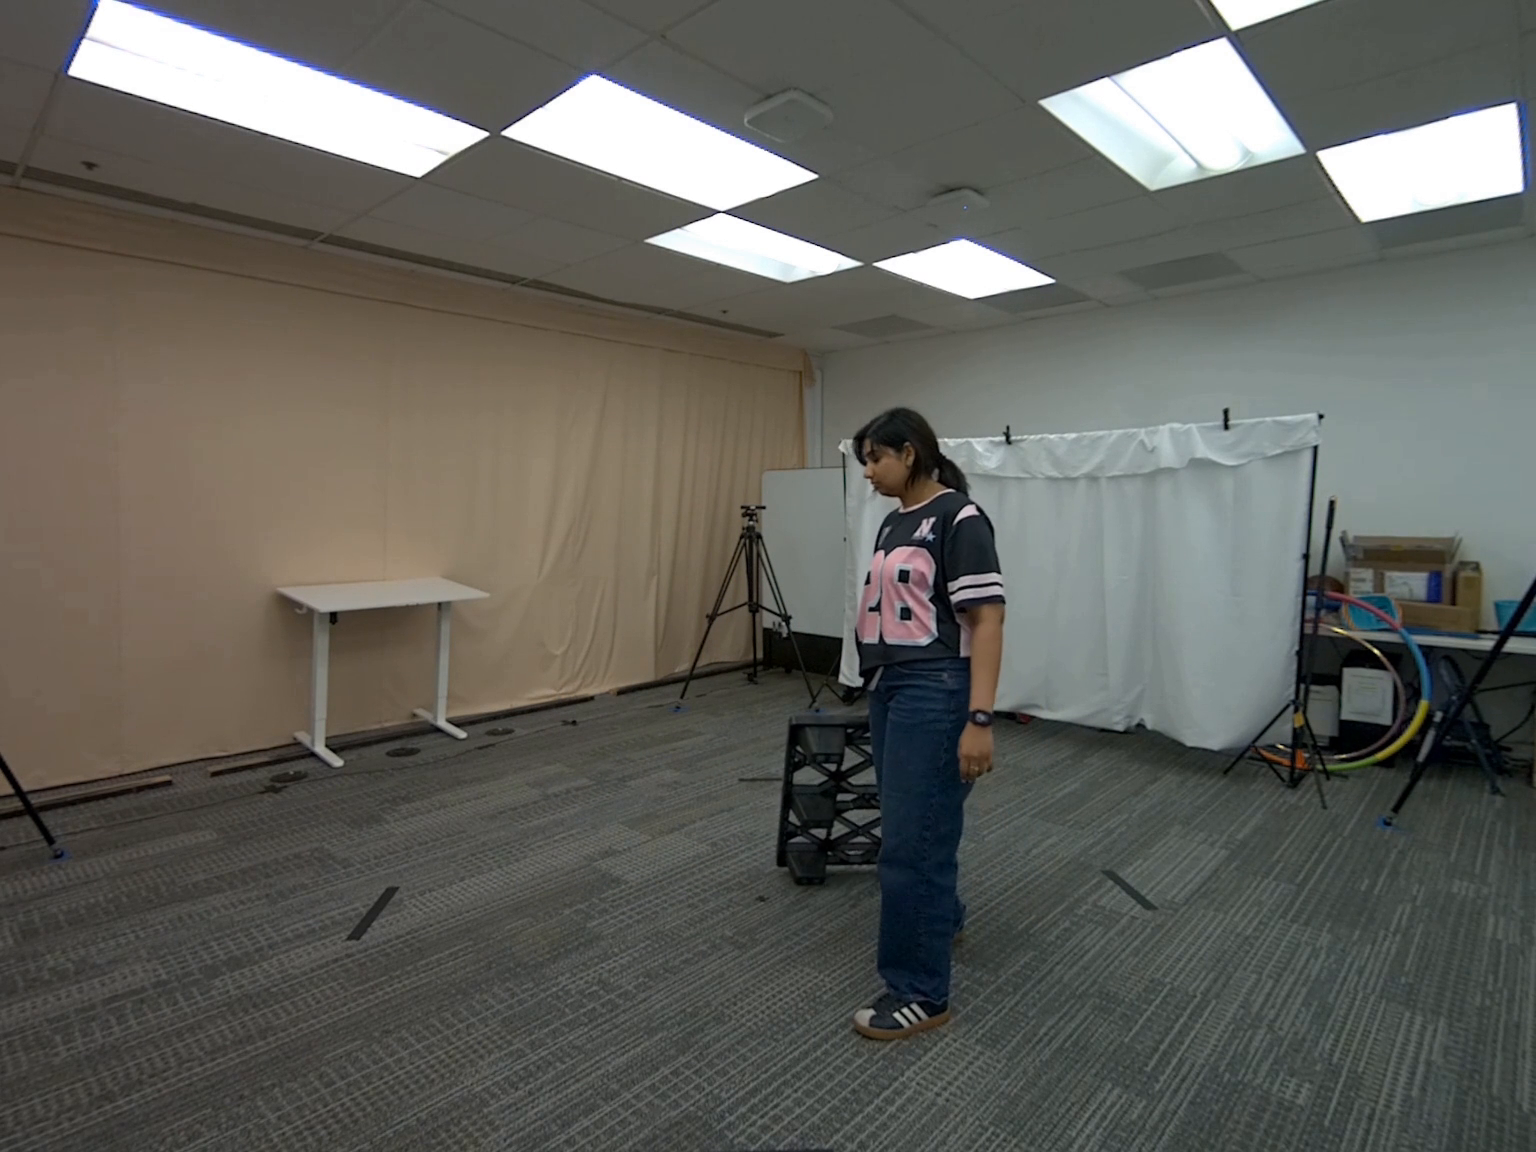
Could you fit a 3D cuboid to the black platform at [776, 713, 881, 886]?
[{"bbox_3d":[0.355,0.807,2.927,0.604,0.792,0.146,1,36,-2],"label":"black platform"}]
